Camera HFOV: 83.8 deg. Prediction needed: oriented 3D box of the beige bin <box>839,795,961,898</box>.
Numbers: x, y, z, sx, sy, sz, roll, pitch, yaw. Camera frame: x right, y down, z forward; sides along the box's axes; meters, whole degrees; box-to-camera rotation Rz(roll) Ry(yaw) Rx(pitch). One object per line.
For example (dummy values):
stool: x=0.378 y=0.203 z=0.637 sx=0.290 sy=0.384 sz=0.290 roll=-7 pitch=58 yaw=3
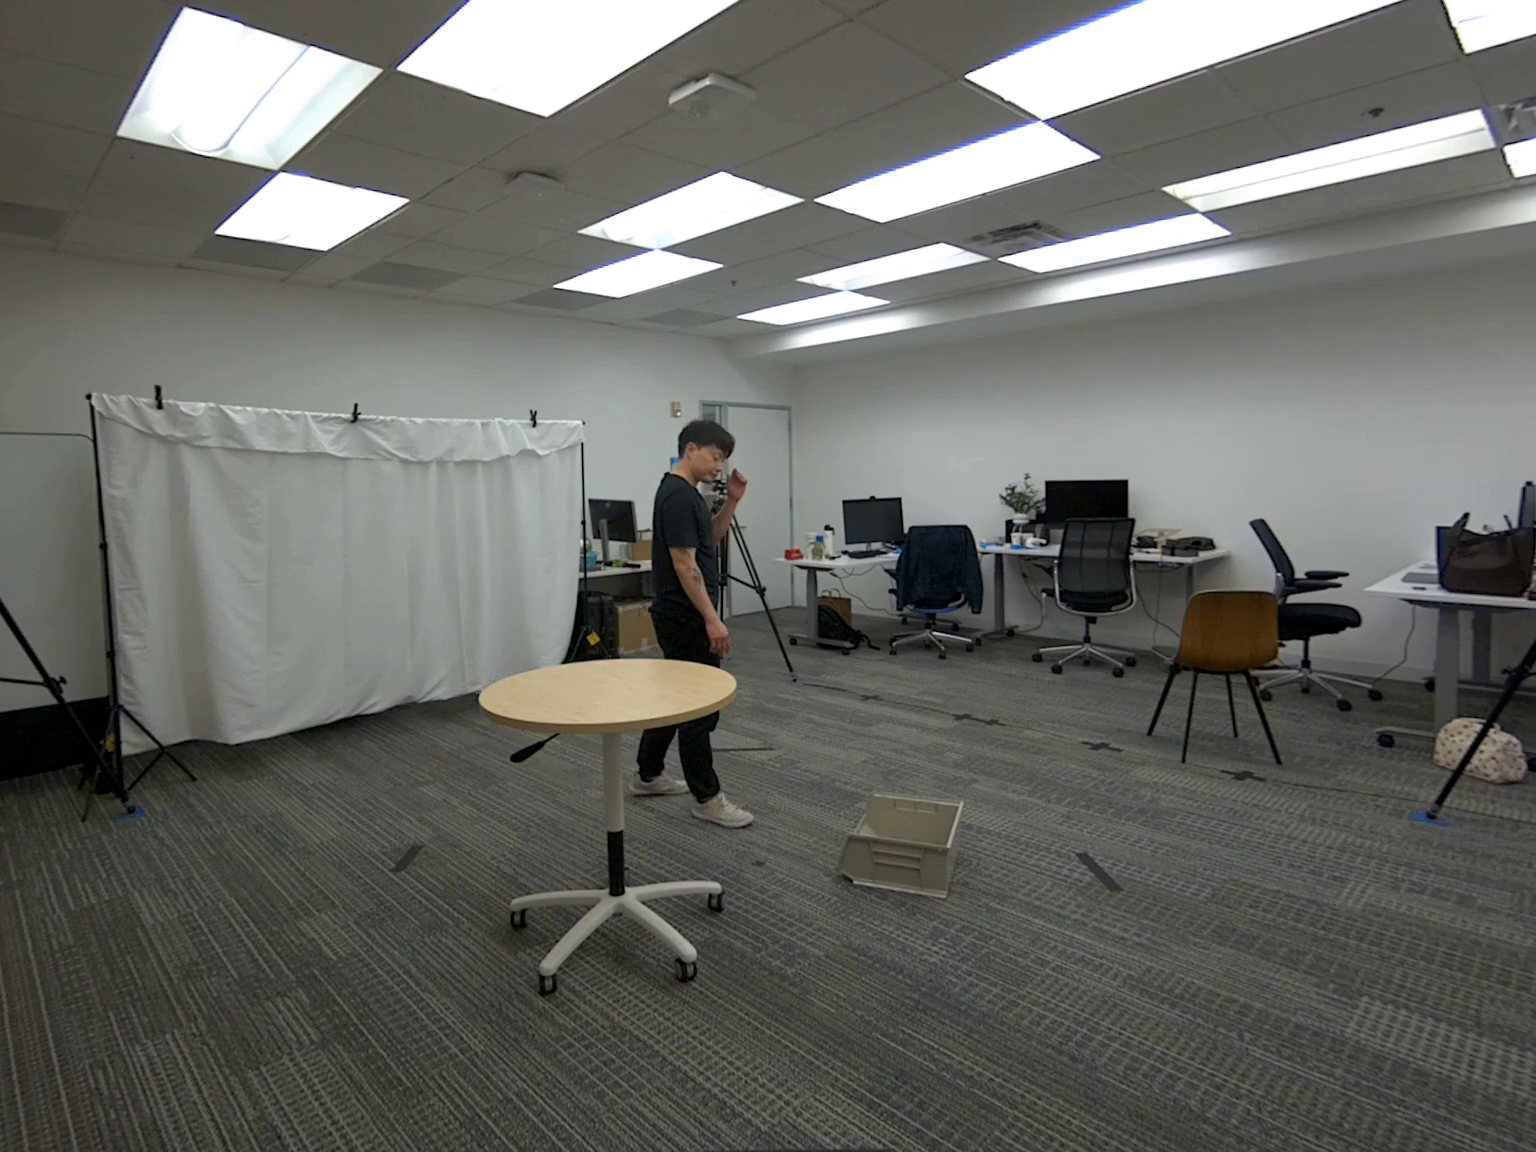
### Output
beige bin: x=0.490 y=0.954 z=3.071 sx=0.385 sy=0.188 sz=0.416 roll=2 pitch=6 yaw=19
